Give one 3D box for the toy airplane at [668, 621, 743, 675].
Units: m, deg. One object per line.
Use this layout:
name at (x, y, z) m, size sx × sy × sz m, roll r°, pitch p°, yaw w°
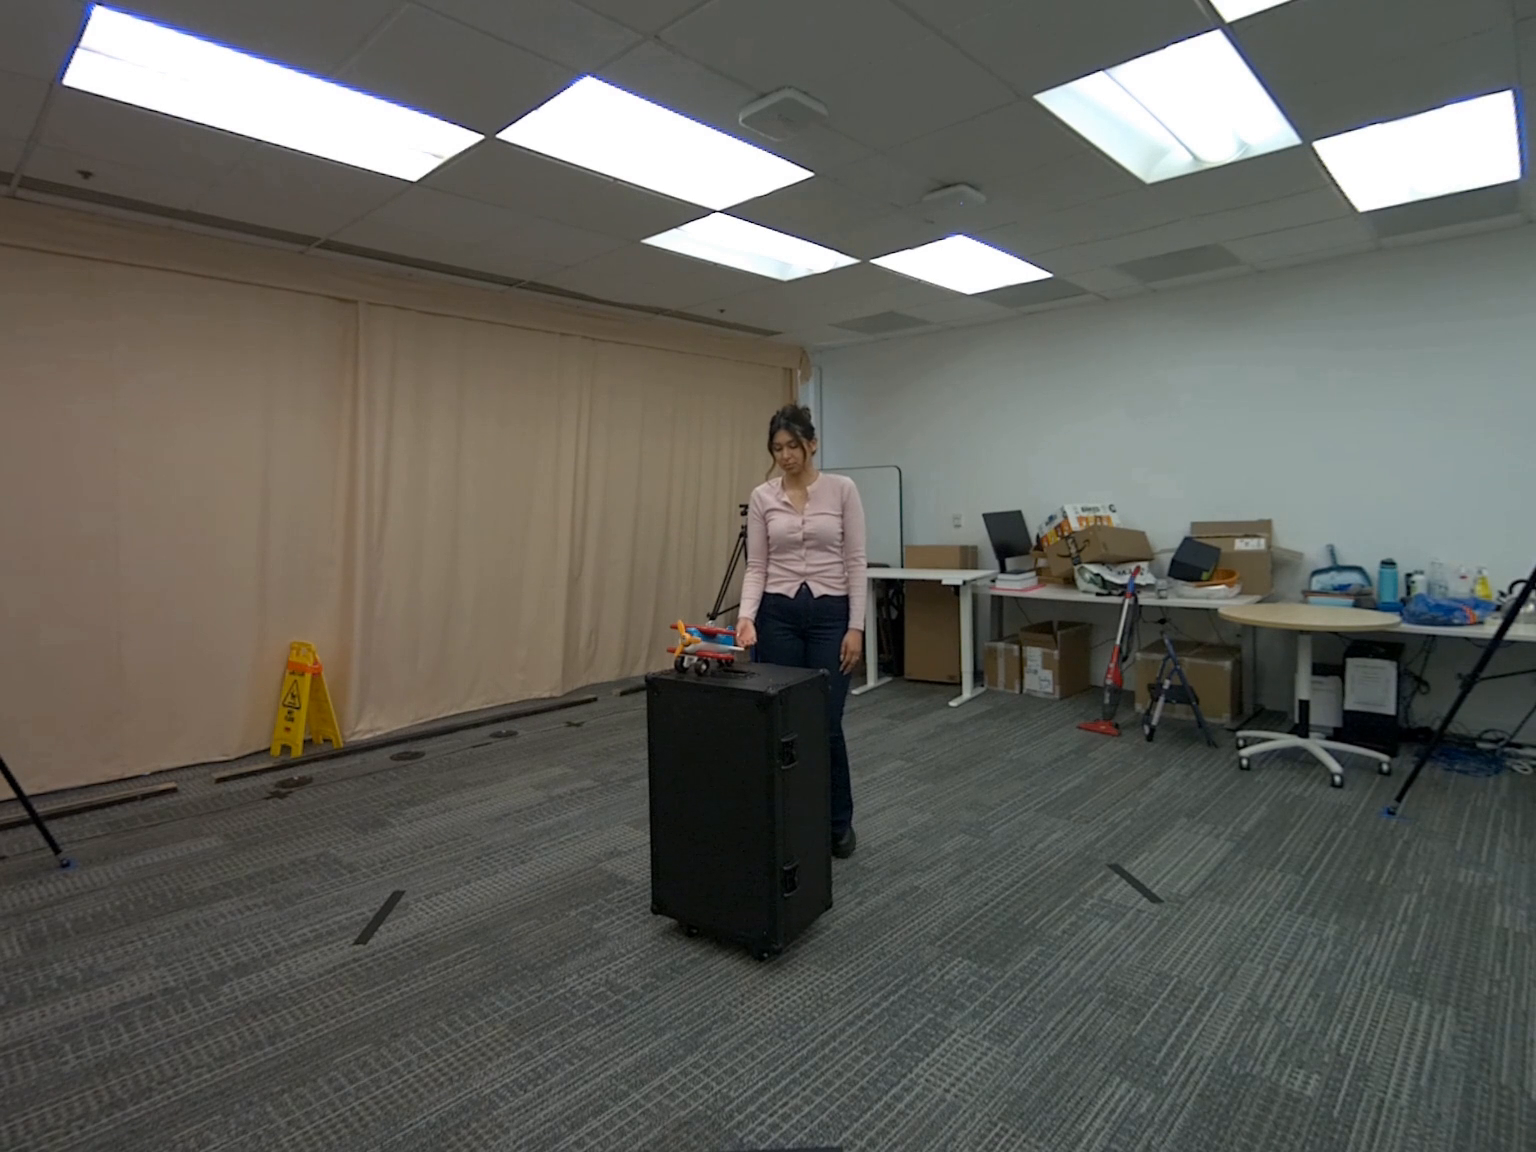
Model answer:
toy airplane at (-0.211, 0.235, 2.783) m, size 0.254 × 0.156 × 0.257 m, roll 0°, pitch 5°, yaw 11°
